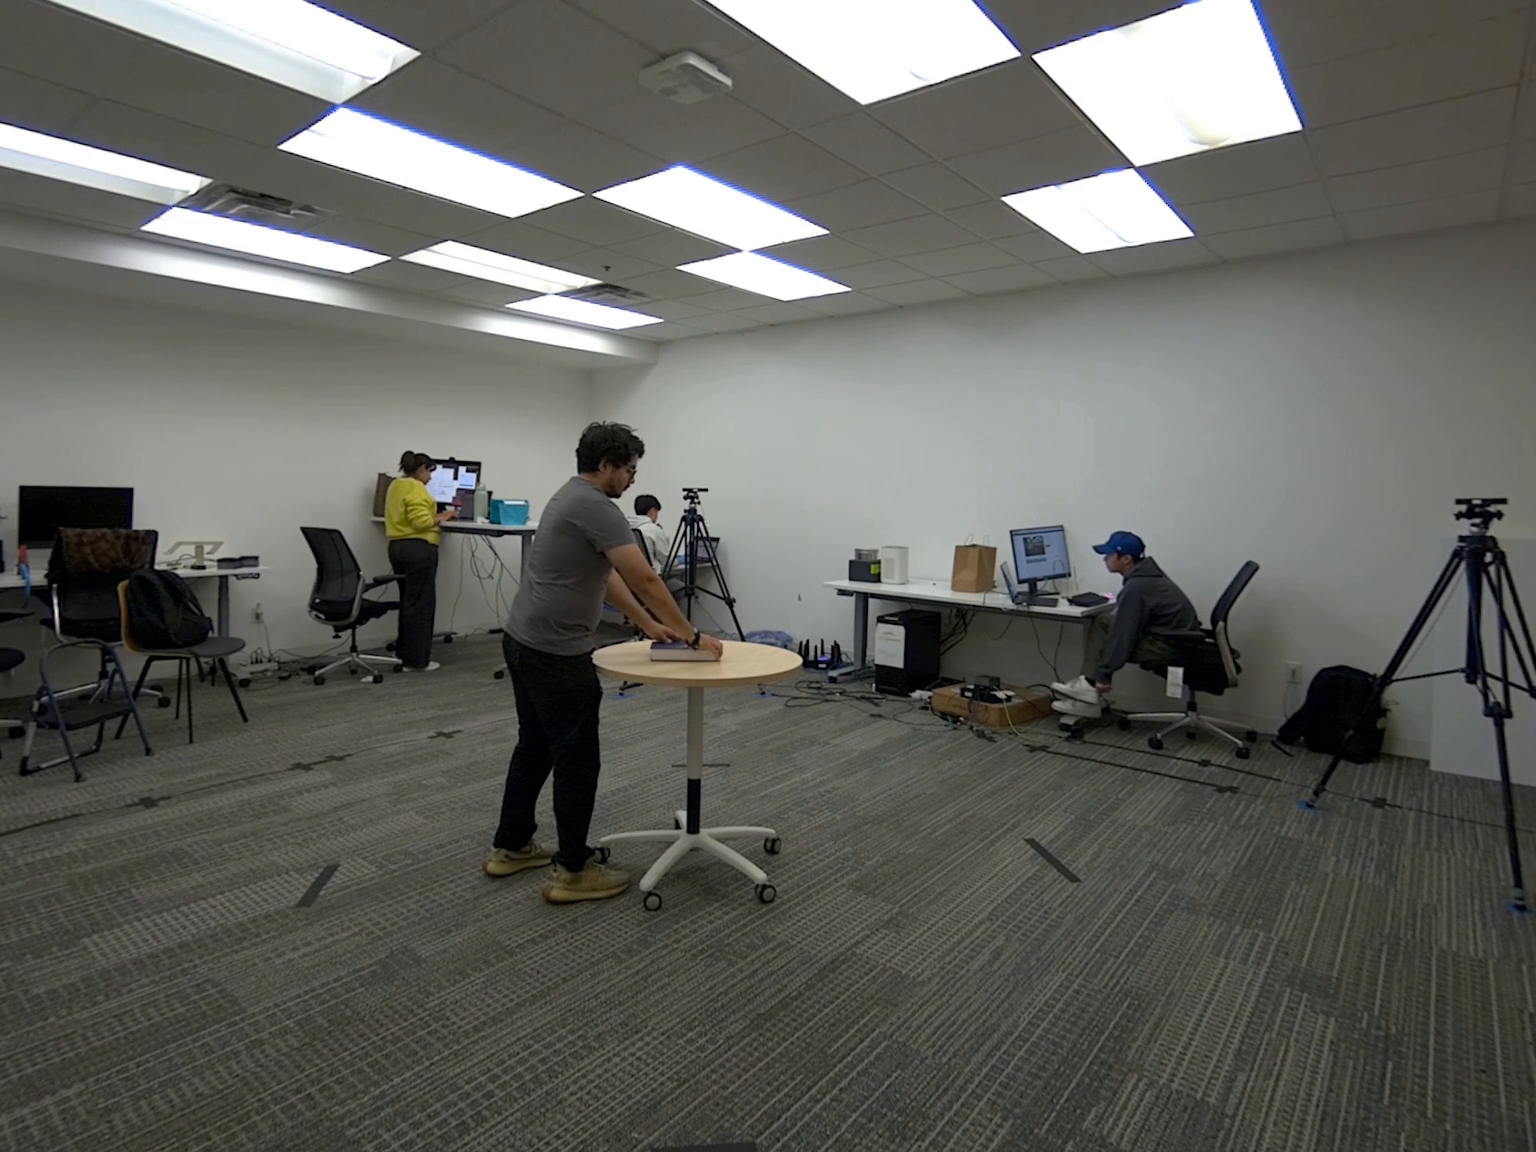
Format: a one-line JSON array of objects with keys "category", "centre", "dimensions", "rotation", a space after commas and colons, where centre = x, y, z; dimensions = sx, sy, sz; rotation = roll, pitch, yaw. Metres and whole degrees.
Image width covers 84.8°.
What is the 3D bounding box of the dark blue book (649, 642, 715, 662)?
[{"category": "dark blue book", "centre": [-0.314, 0.274, 3.056], "dimensions": [0.244, 0.045, 0.164], "rotation": [1, 5, -3]}]
